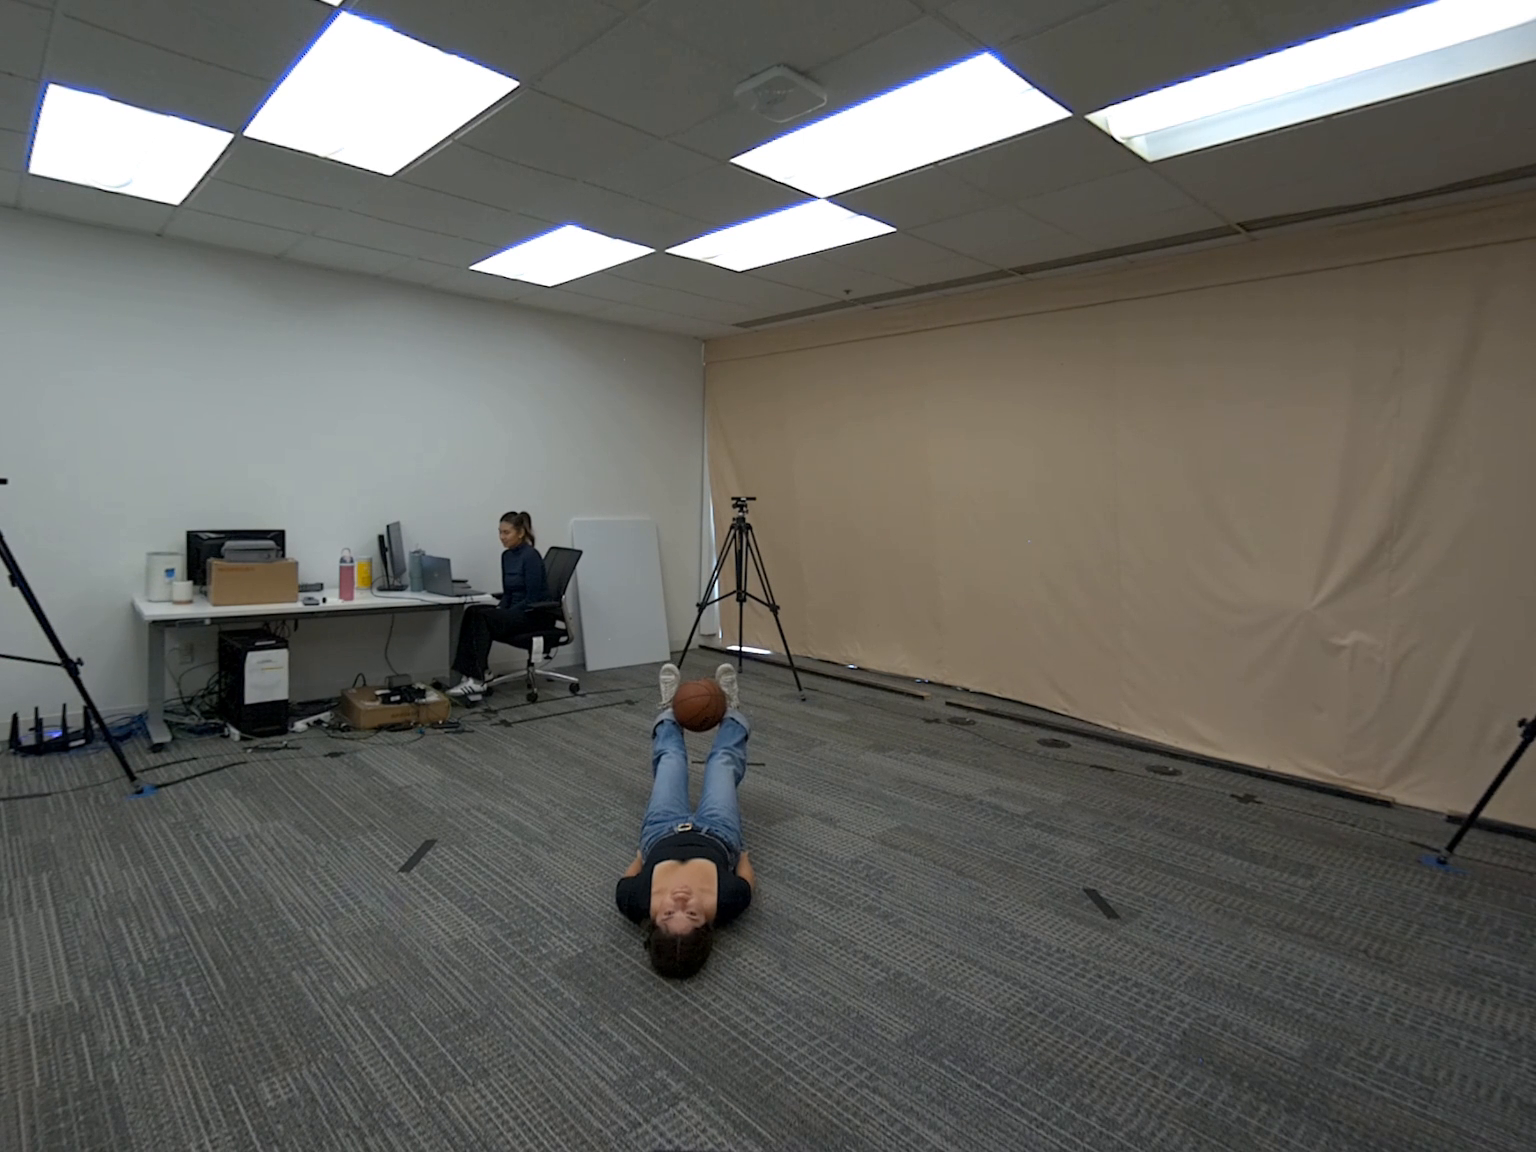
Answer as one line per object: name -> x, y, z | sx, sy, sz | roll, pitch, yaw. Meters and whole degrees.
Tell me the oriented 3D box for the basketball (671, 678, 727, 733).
basketball -> -0.318, 0.576, 3.766 | 0.236, 0.235, 0.237 | 1, 4, -1
